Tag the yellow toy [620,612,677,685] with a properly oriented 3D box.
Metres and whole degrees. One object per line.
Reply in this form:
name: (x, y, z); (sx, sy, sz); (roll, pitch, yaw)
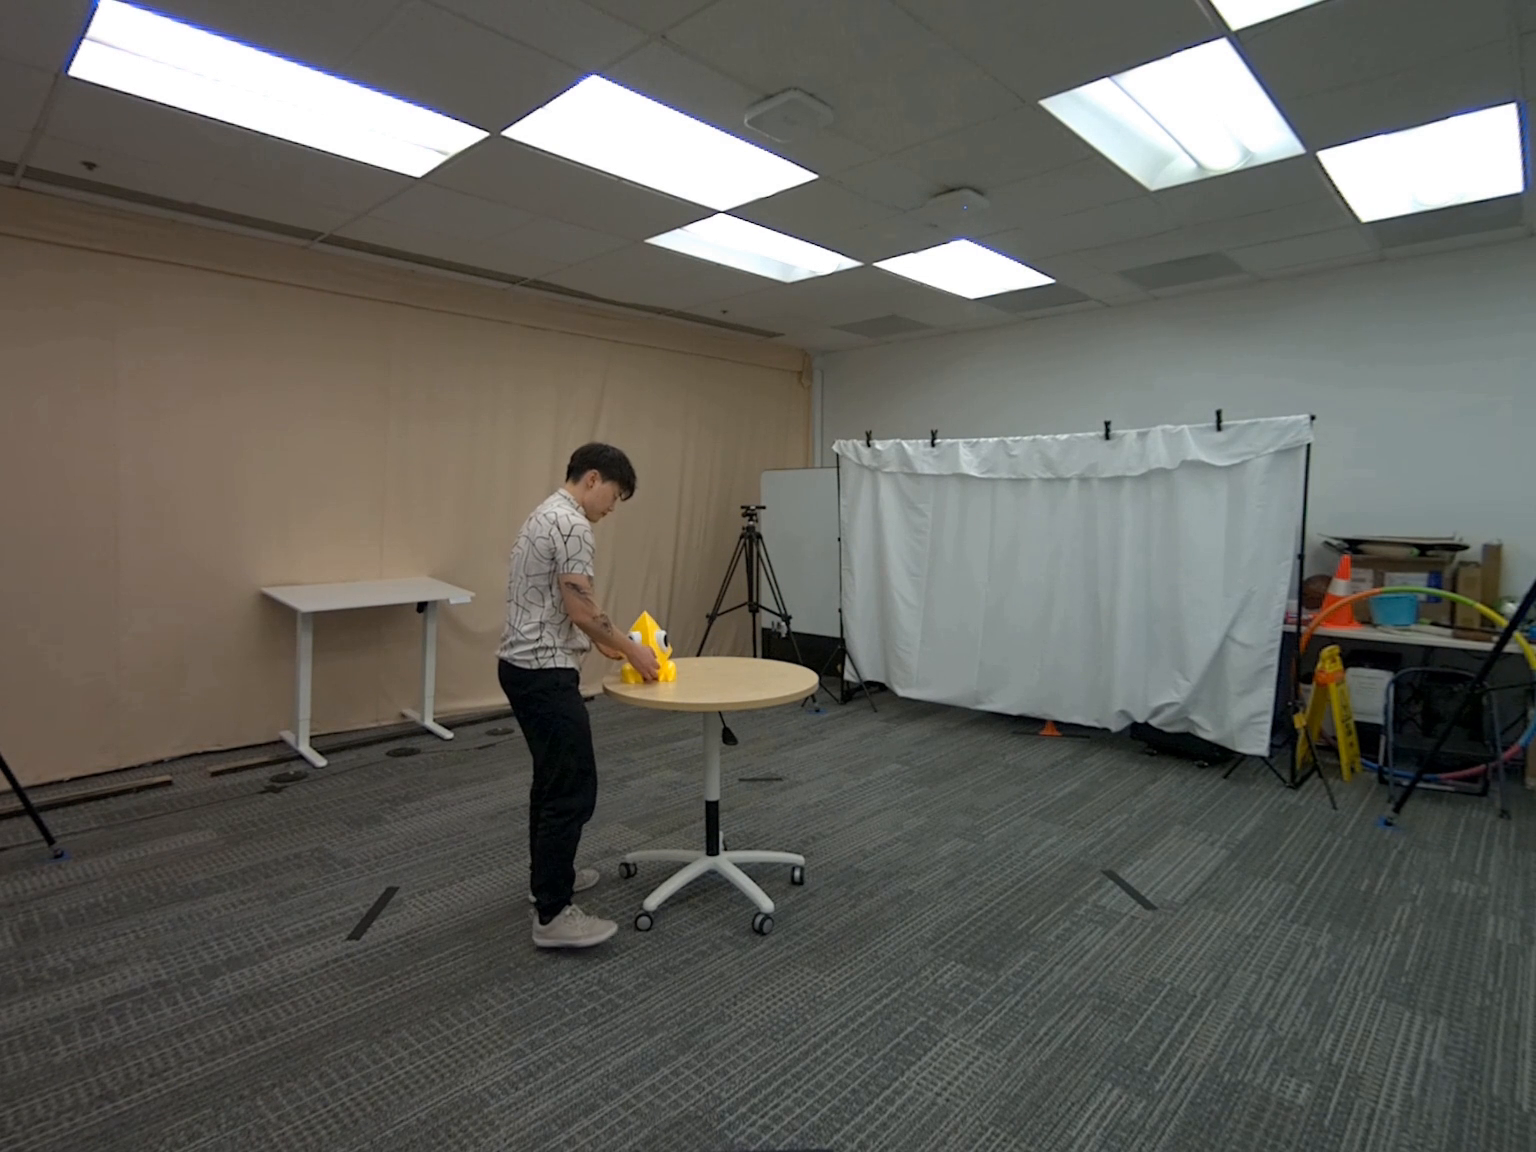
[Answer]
yellow toy: (-0.427, 0.250, 2.990); (0.202, 0.230, 0.196); (-2, 5, -14)
